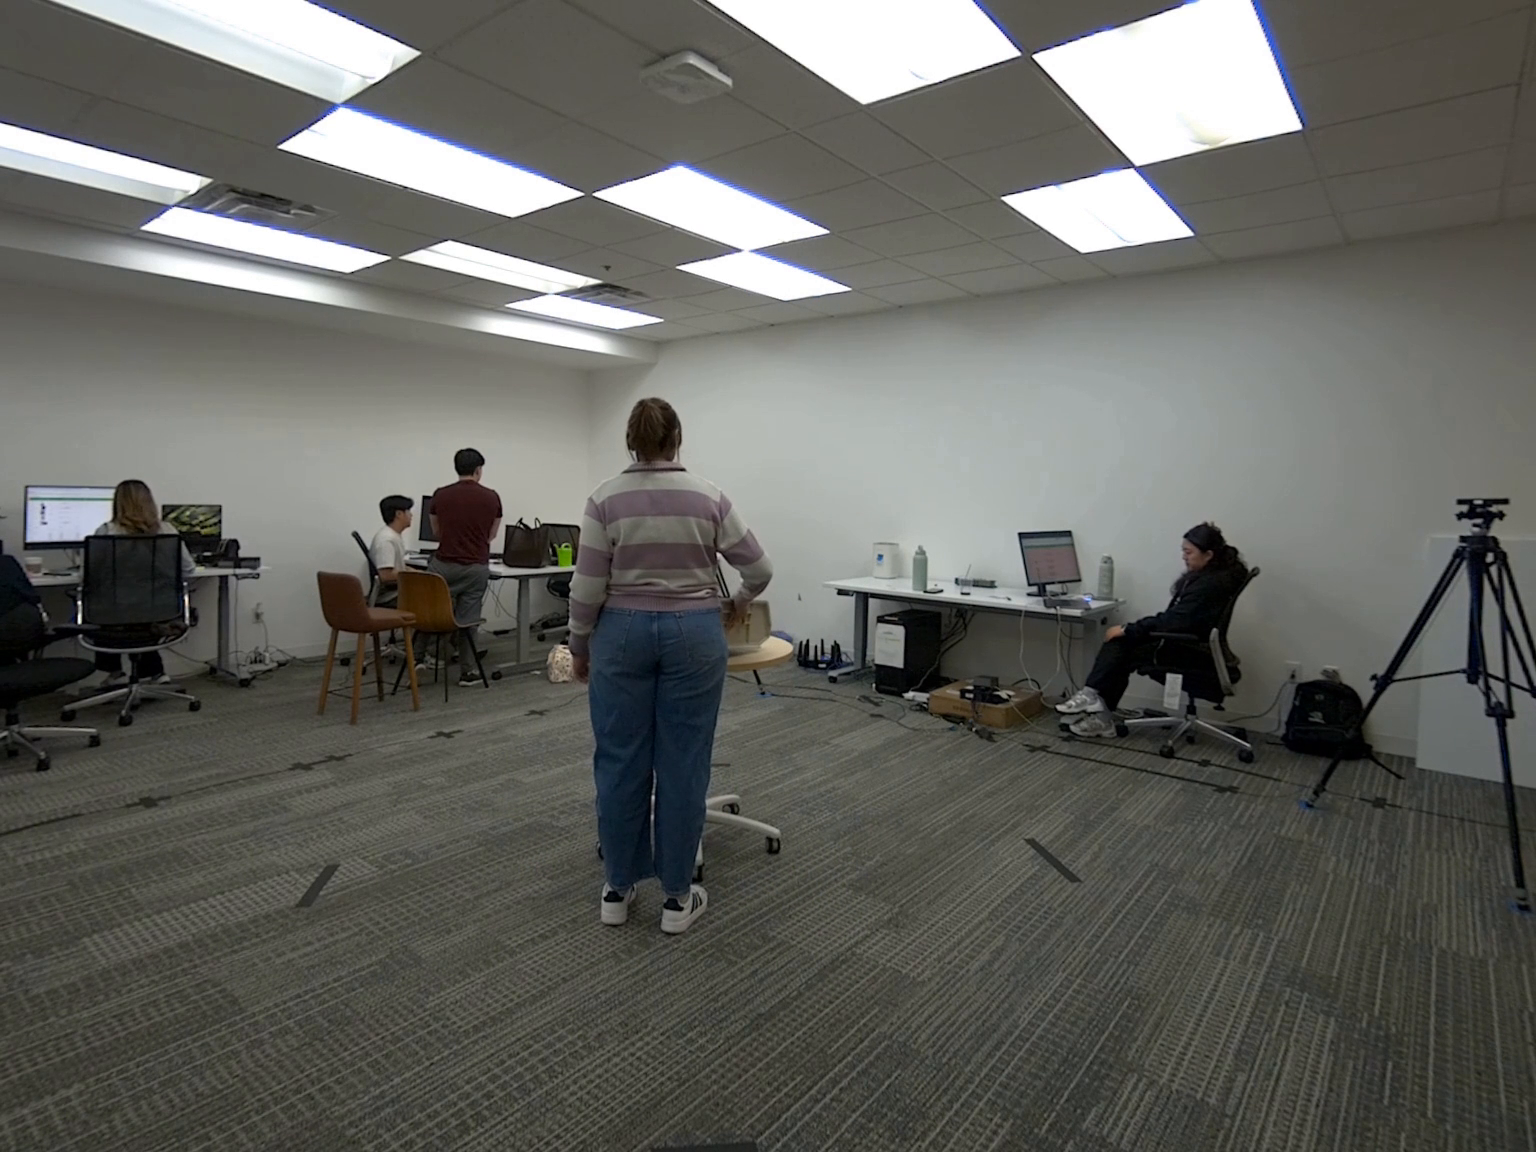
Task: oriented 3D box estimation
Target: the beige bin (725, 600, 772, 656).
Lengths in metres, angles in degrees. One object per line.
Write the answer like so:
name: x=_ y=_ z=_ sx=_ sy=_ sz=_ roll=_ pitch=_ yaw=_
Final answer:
beige bin: x=-0.275 y=0.153 z=3.217 sx=0.437 sy=0.189 sz=0.365 roll=5 pitch=1 yaw=41
